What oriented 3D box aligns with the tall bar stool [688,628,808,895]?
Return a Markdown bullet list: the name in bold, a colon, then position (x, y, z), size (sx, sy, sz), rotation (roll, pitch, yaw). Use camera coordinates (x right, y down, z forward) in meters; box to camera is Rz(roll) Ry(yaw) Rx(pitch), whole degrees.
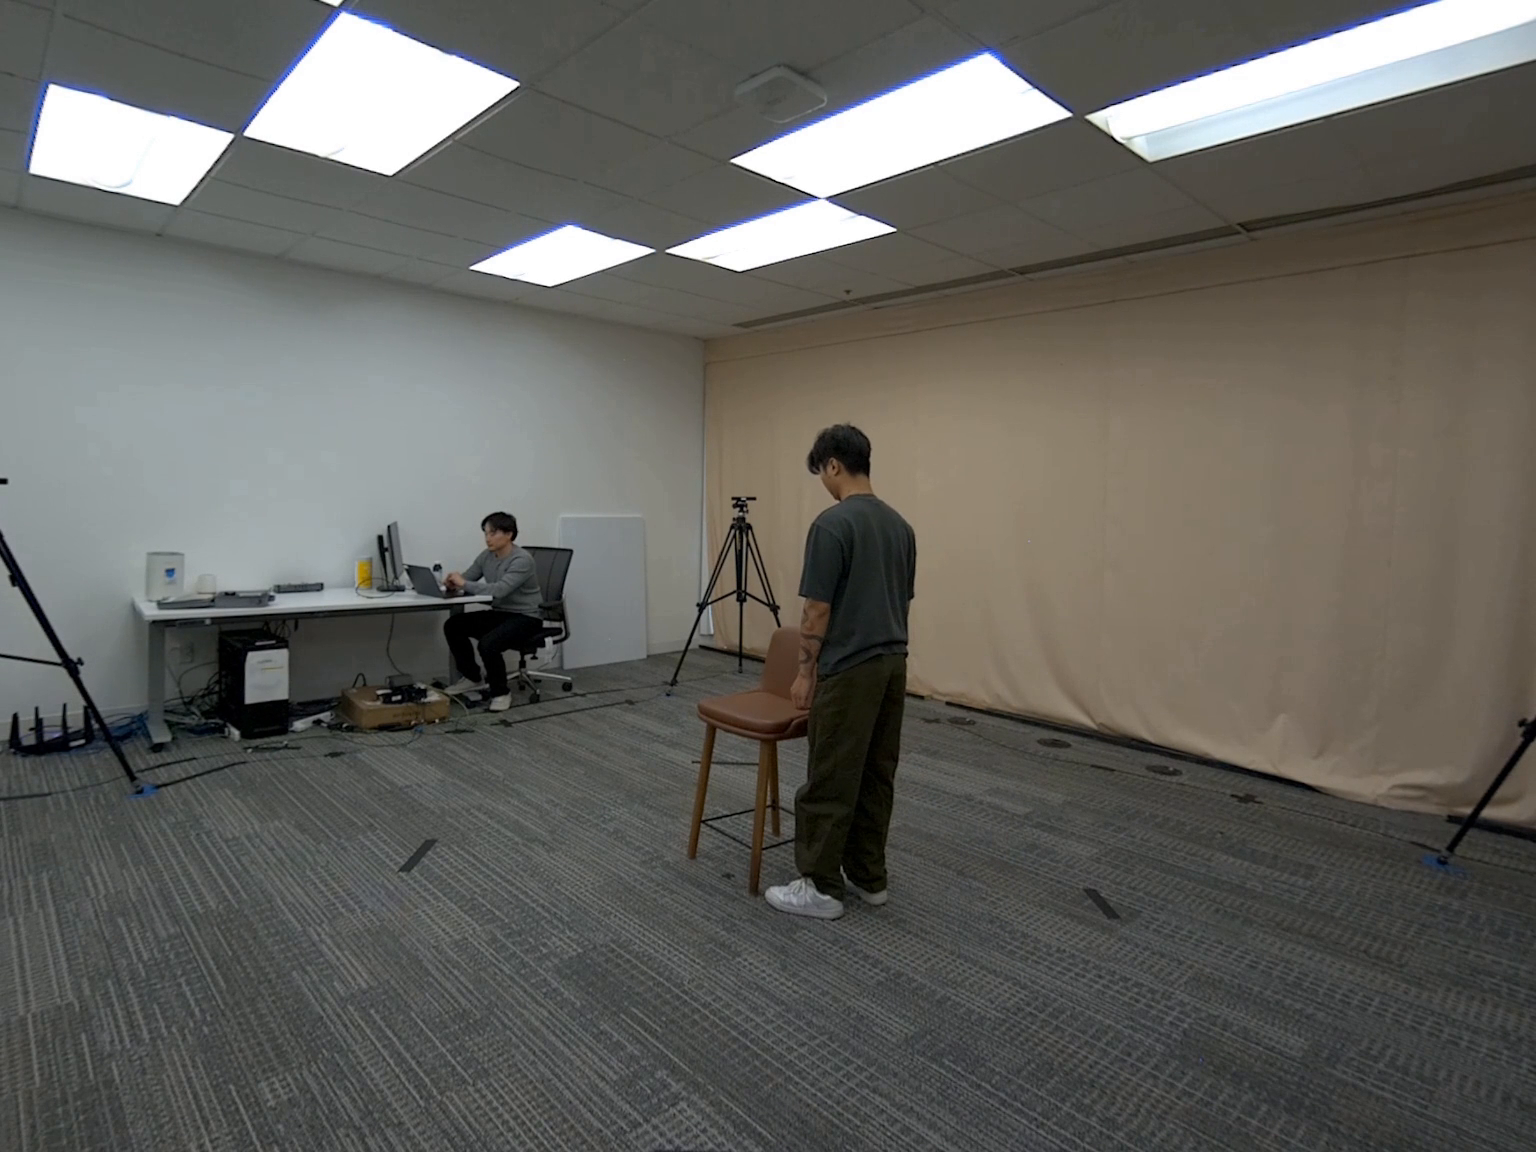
- **tall bar stool**: position (-0.010, 0.666, 3.225), size (0.456, 0.888, 0.468), rotation (1, 3, -39)
